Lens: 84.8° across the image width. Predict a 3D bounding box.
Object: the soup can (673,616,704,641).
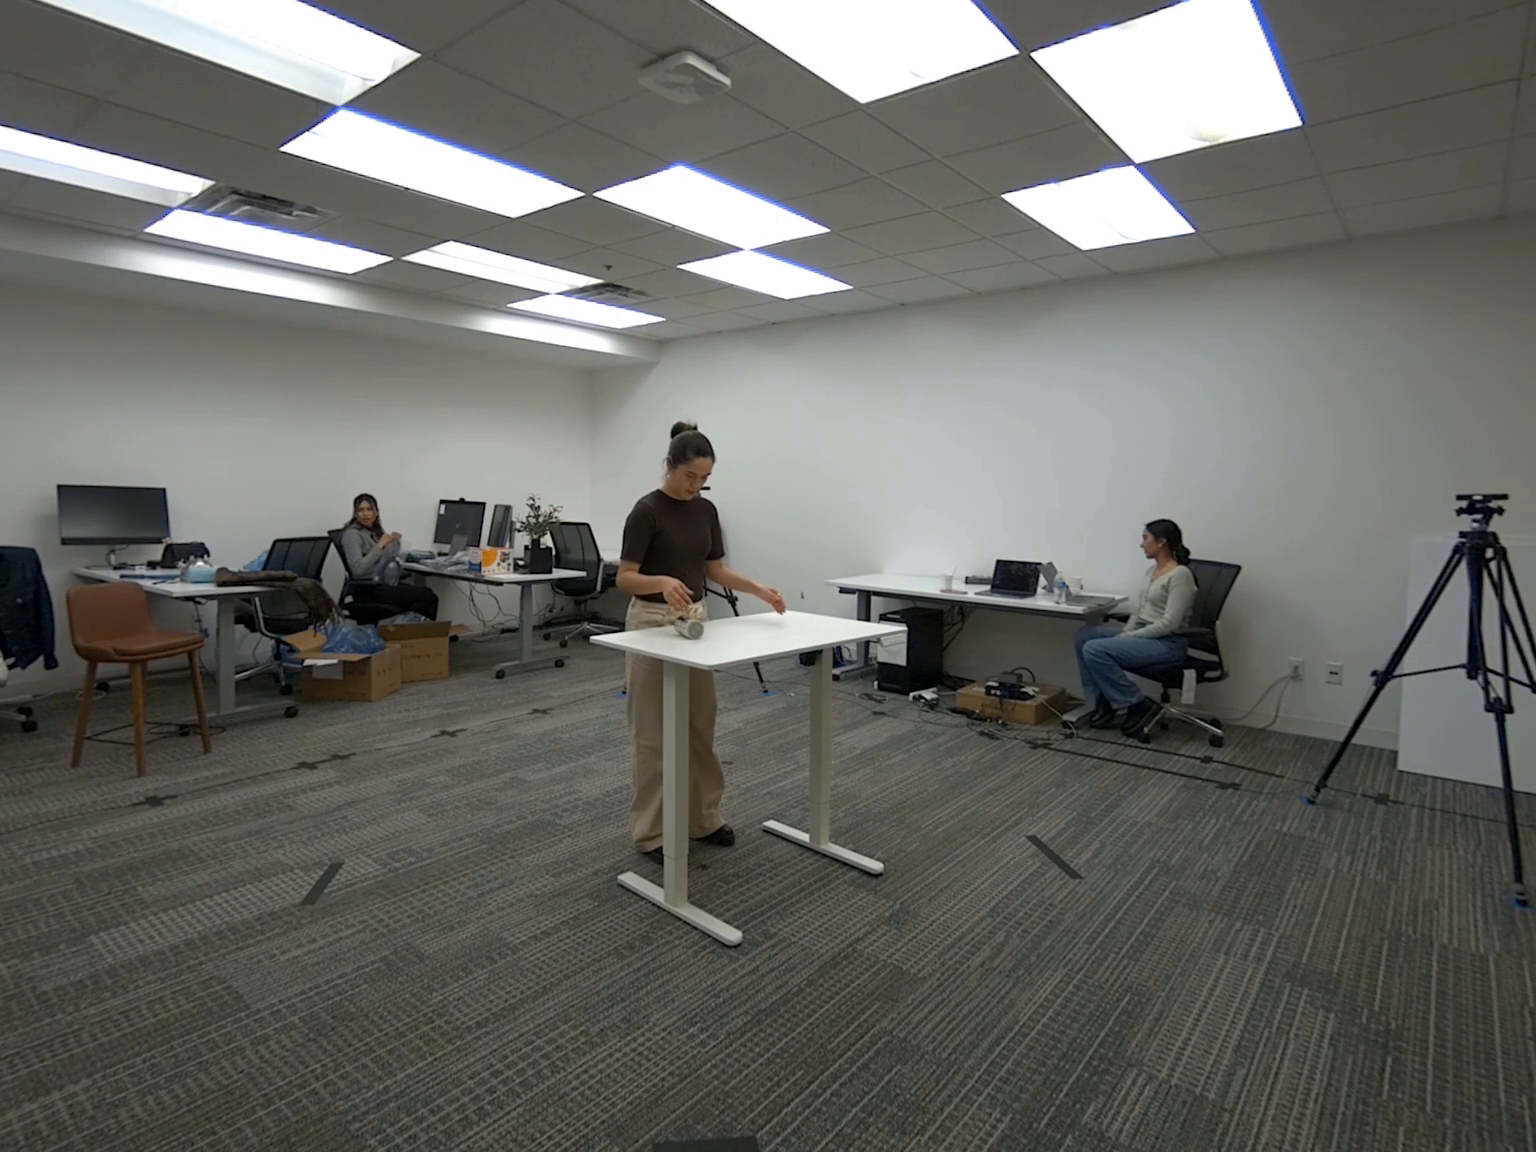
[{"bbox_3d":[-0.284,0.169,2.882,0.066,0.067,0.125,-1,7,-22],"label":"soup can"}]
